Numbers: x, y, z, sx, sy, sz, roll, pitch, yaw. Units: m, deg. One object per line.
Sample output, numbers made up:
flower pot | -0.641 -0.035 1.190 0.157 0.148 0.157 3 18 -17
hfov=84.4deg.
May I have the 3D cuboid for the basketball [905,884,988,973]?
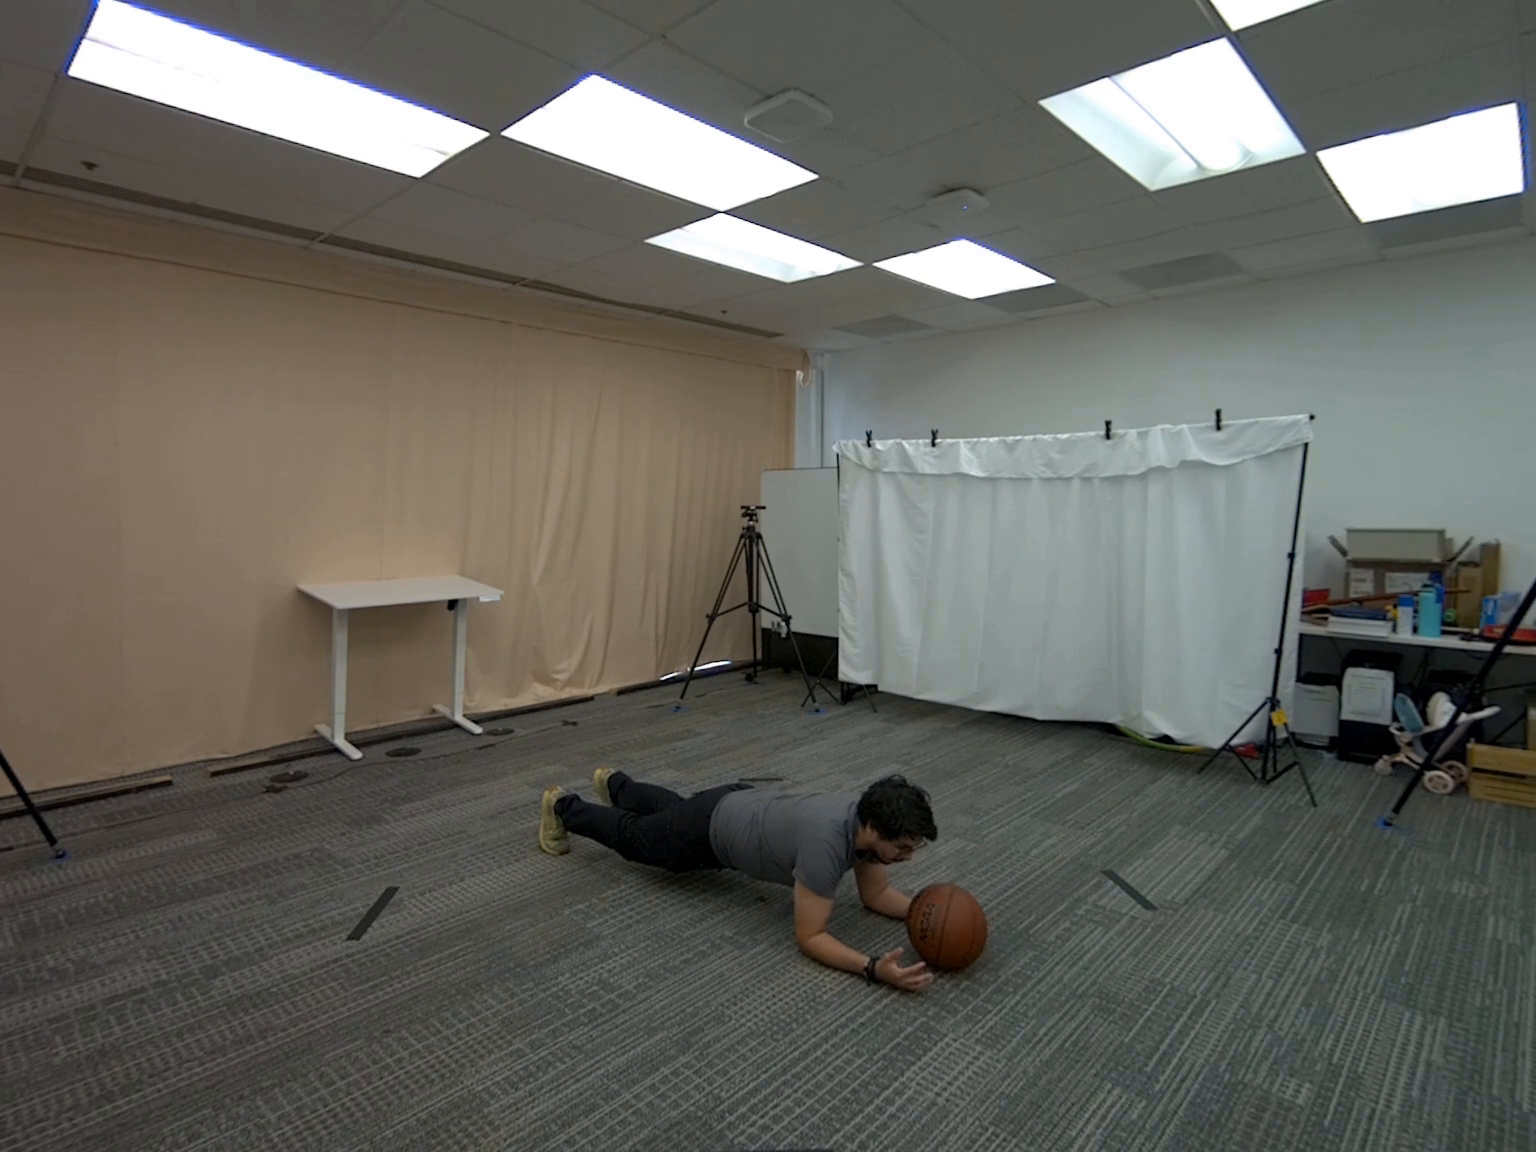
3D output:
basketball | 0.545 1.055 2.549 0.236 0.235 0.237 0 4 -2
